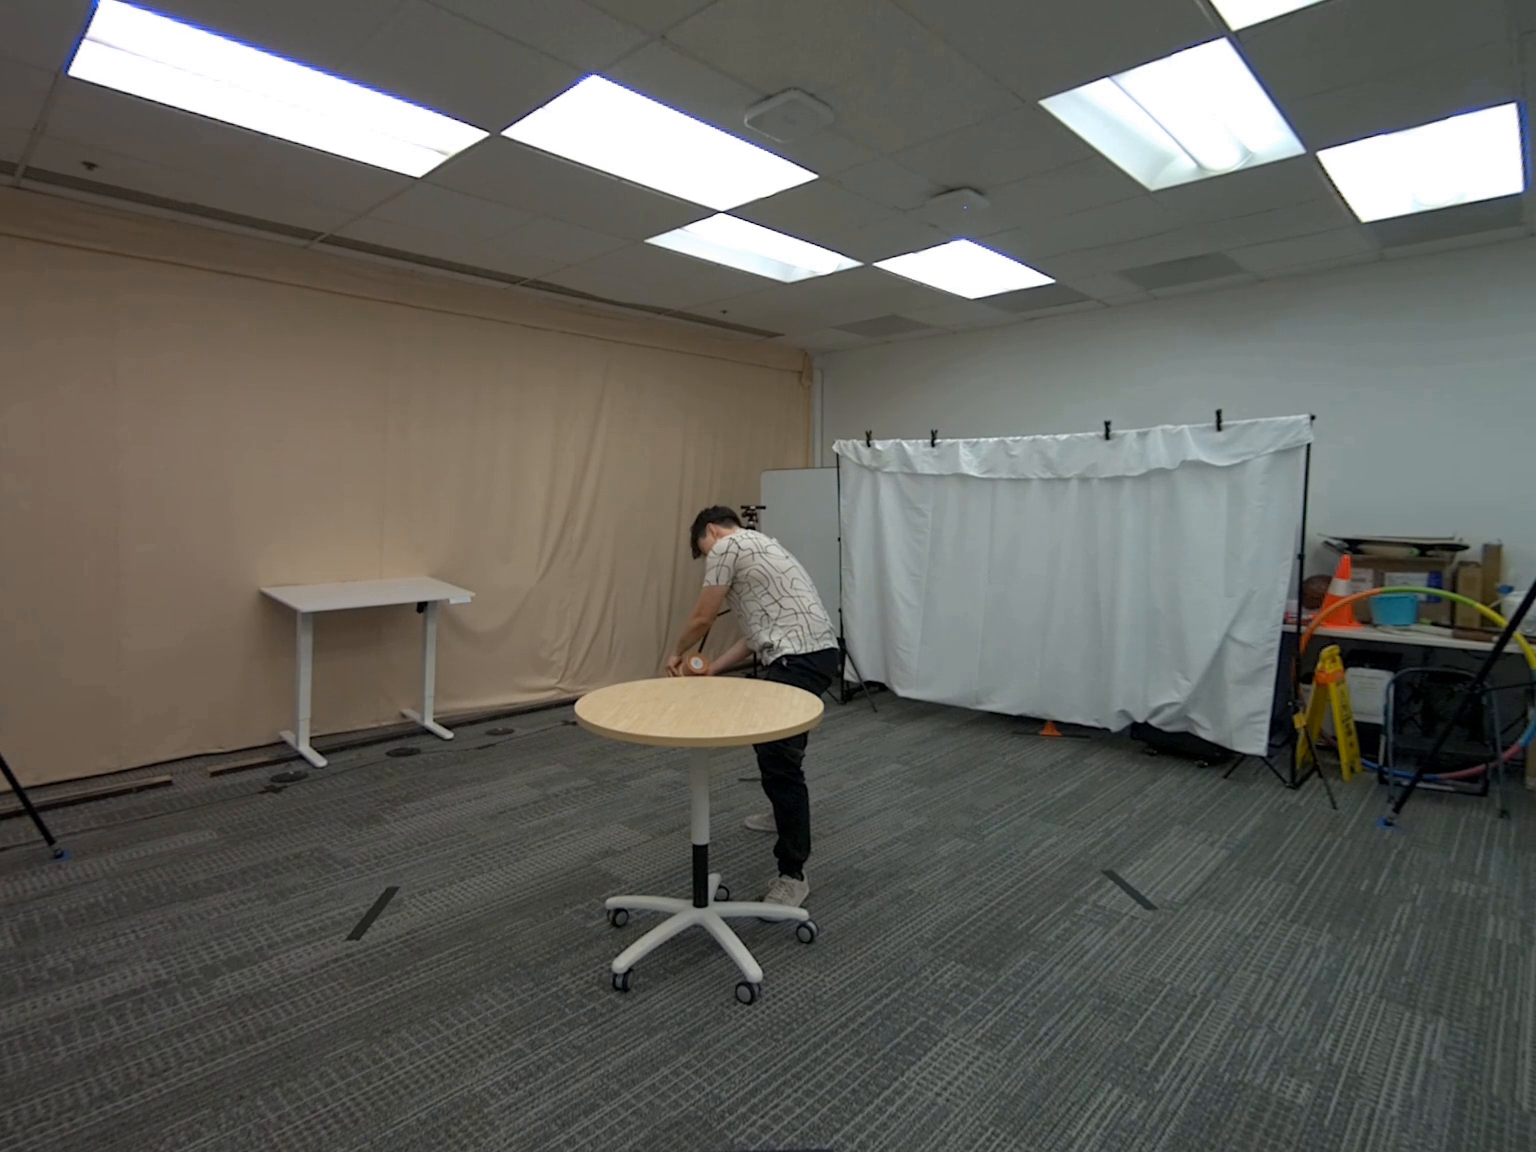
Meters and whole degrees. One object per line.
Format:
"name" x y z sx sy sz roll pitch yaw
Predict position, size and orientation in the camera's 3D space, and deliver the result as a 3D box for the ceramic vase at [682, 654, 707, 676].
"ceramic vase" -0.326 0.411 3.485 0.131 0.163 0.220 2 -36 -28
